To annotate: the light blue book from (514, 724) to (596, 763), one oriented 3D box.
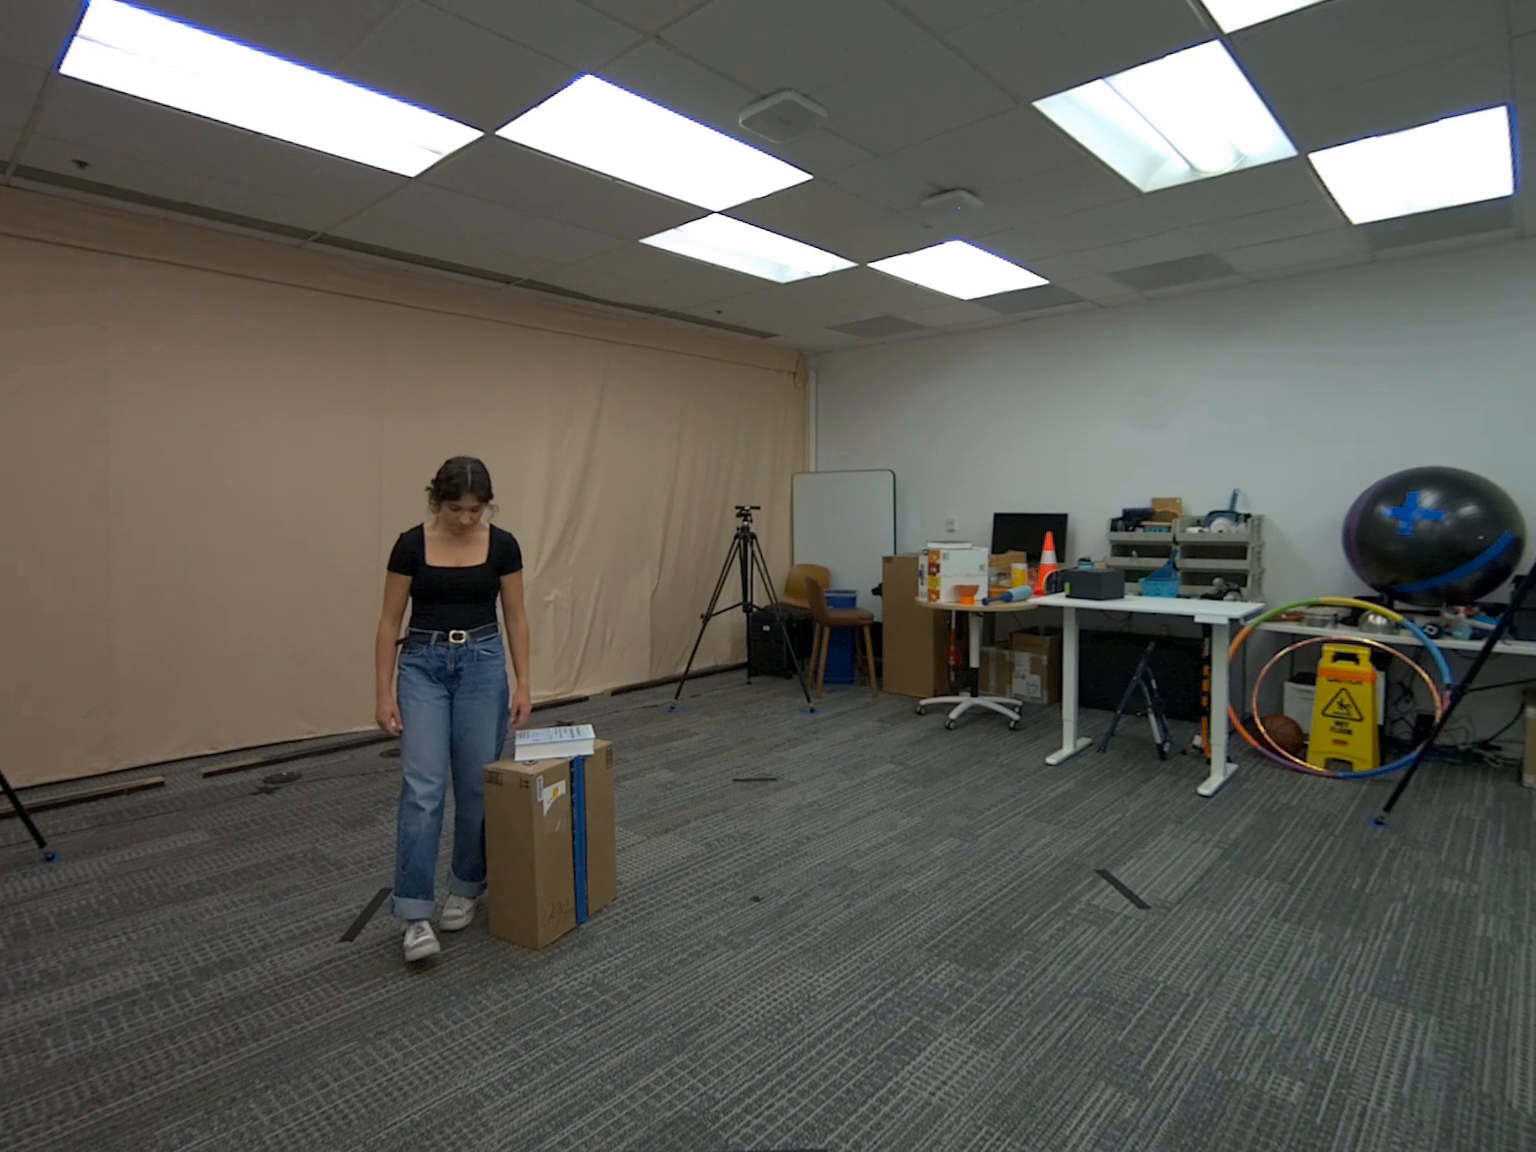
[{"bbox_3d":[-0.739,0.575,2.865,0.257,0.059,0.194,-3,4,-13],"label":"light blue book"}]
